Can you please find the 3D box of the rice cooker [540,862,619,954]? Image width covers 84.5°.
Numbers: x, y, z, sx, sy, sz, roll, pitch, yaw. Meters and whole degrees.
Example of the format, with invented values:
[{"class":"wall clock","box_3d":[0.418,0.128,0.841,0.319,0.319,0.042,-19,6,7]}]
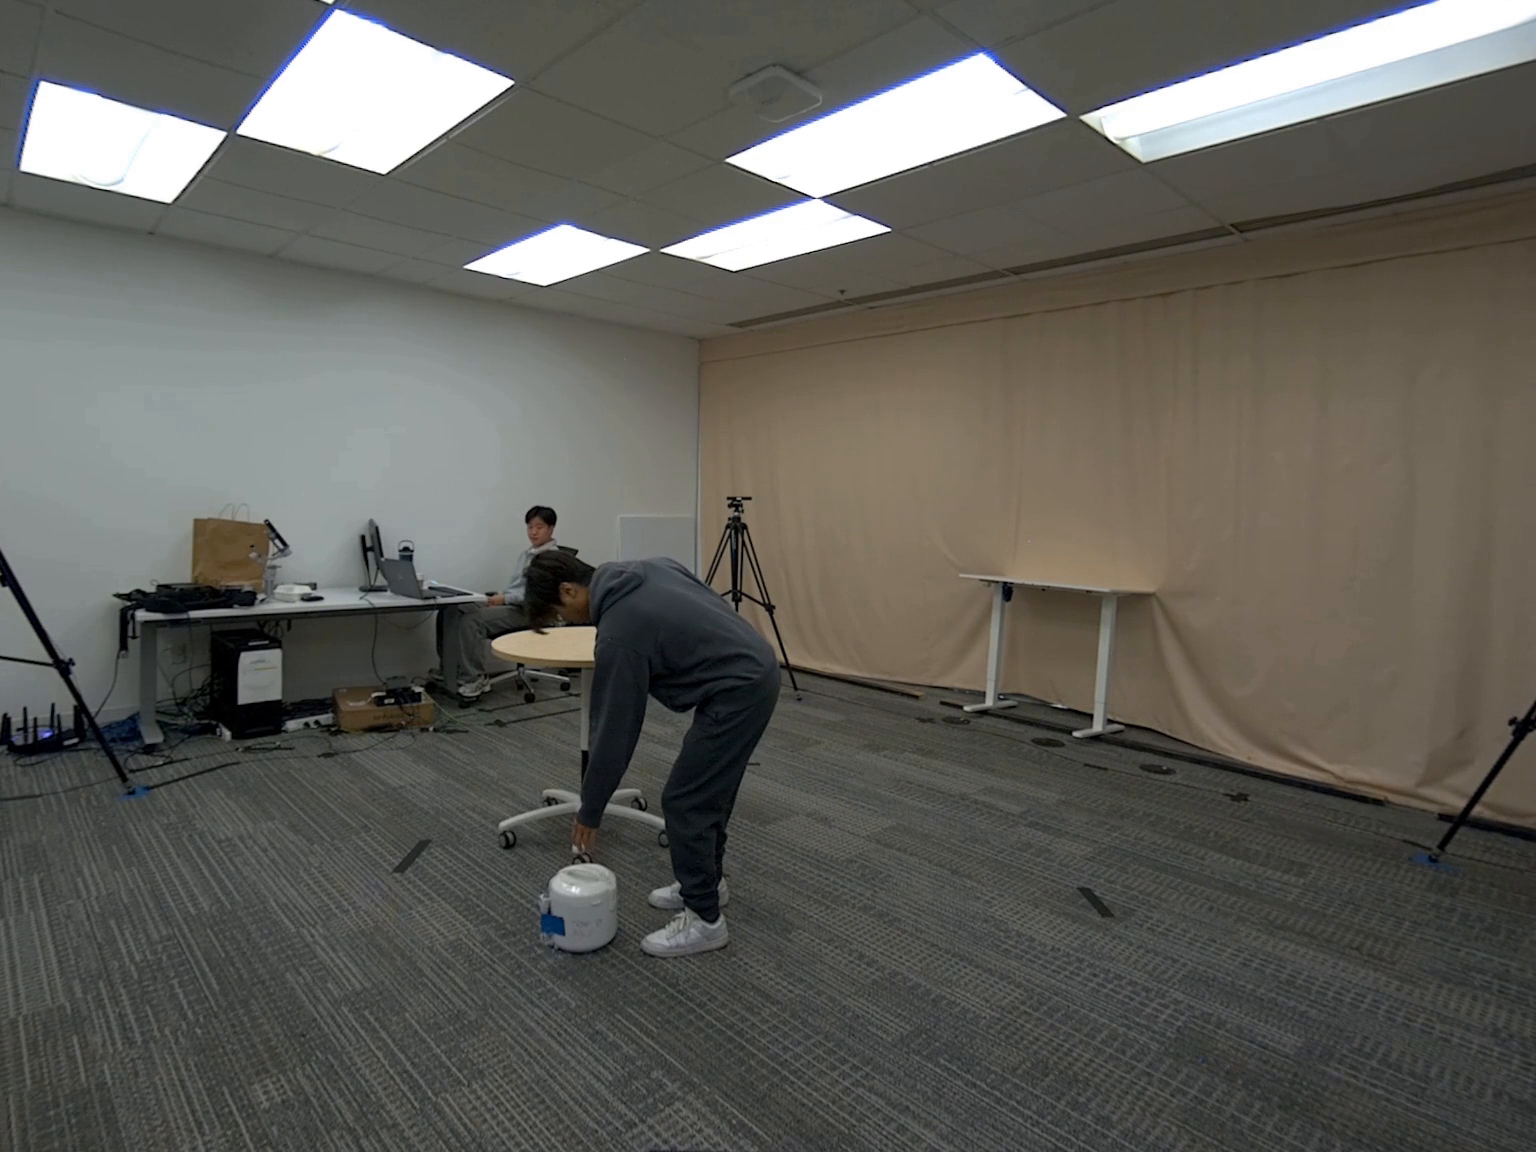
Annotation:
[{"class":"rice cooker","box_3d":[-0.581,1.018,2.636,0.224,0.232,0.214,3,4,20]}]
